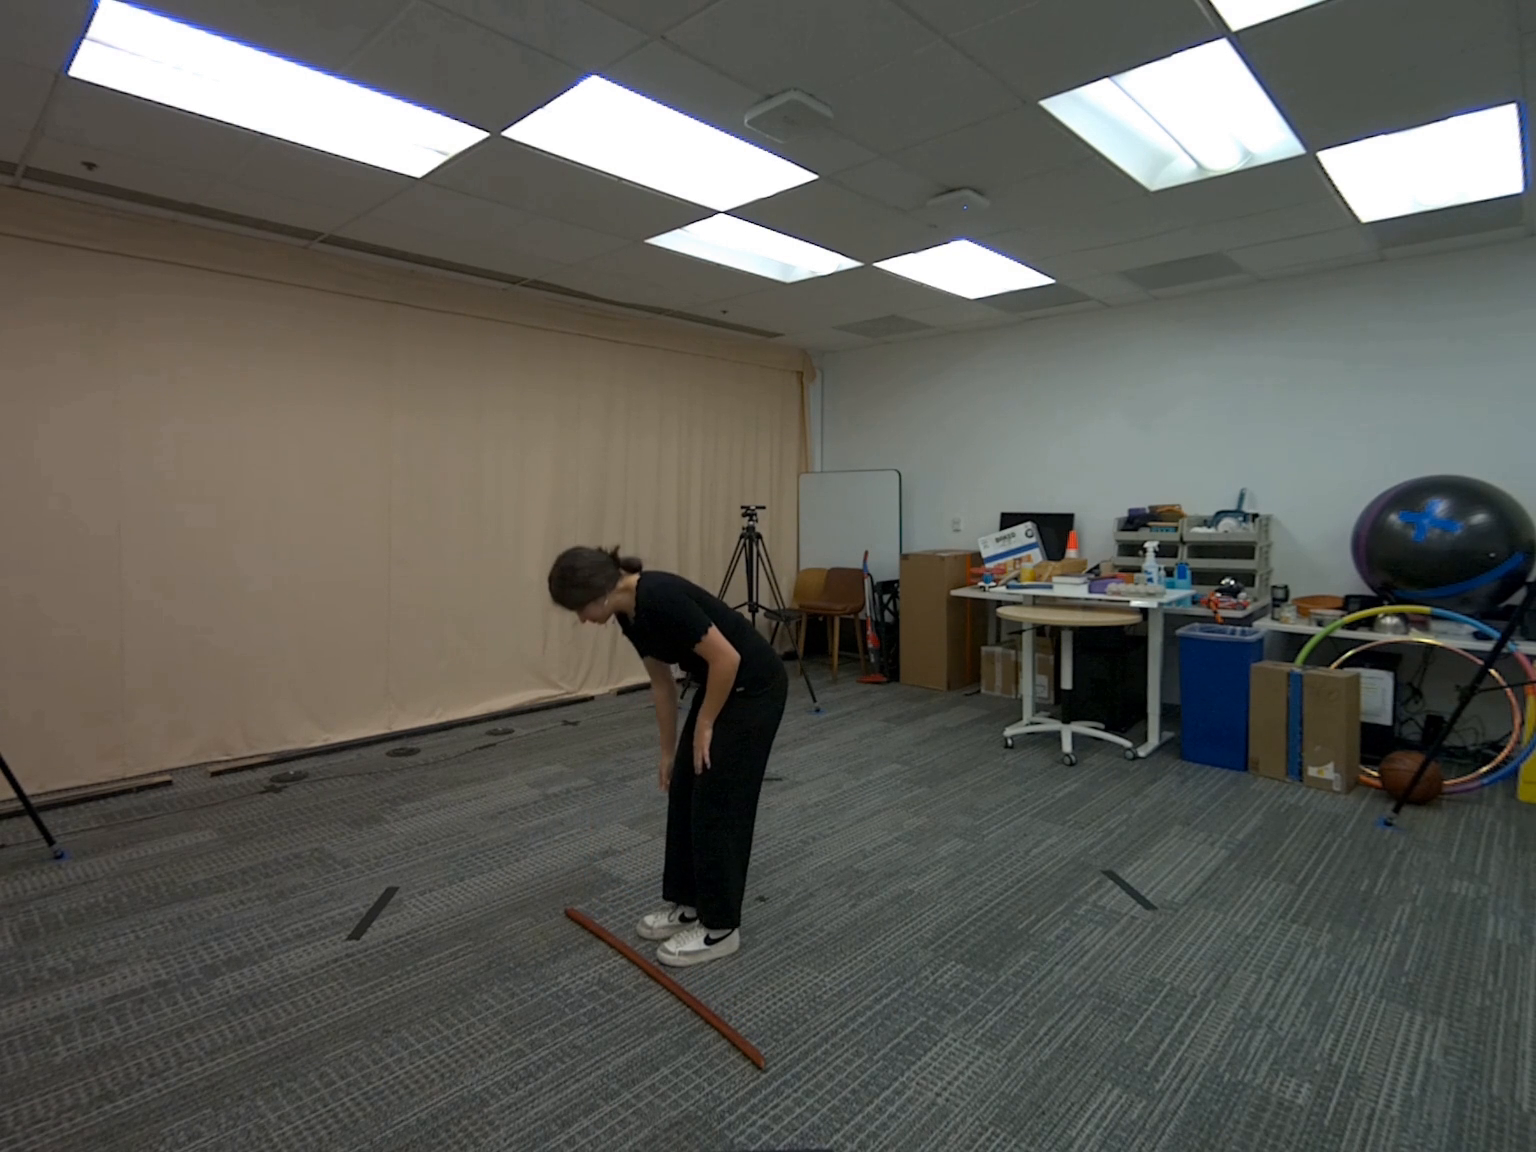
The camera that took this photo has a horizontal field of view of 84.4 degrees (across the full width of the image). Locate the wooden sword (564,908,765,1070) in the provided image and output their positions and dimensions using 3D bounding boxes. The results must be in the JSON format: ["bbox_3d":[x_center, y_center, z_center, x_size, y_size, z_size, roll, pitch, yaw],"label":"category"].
[{"bbox_3d":[-0.335,1.171,2.482,0.050,0.024,1.058,-1,4,-39],"label":"wooden sword"}]
